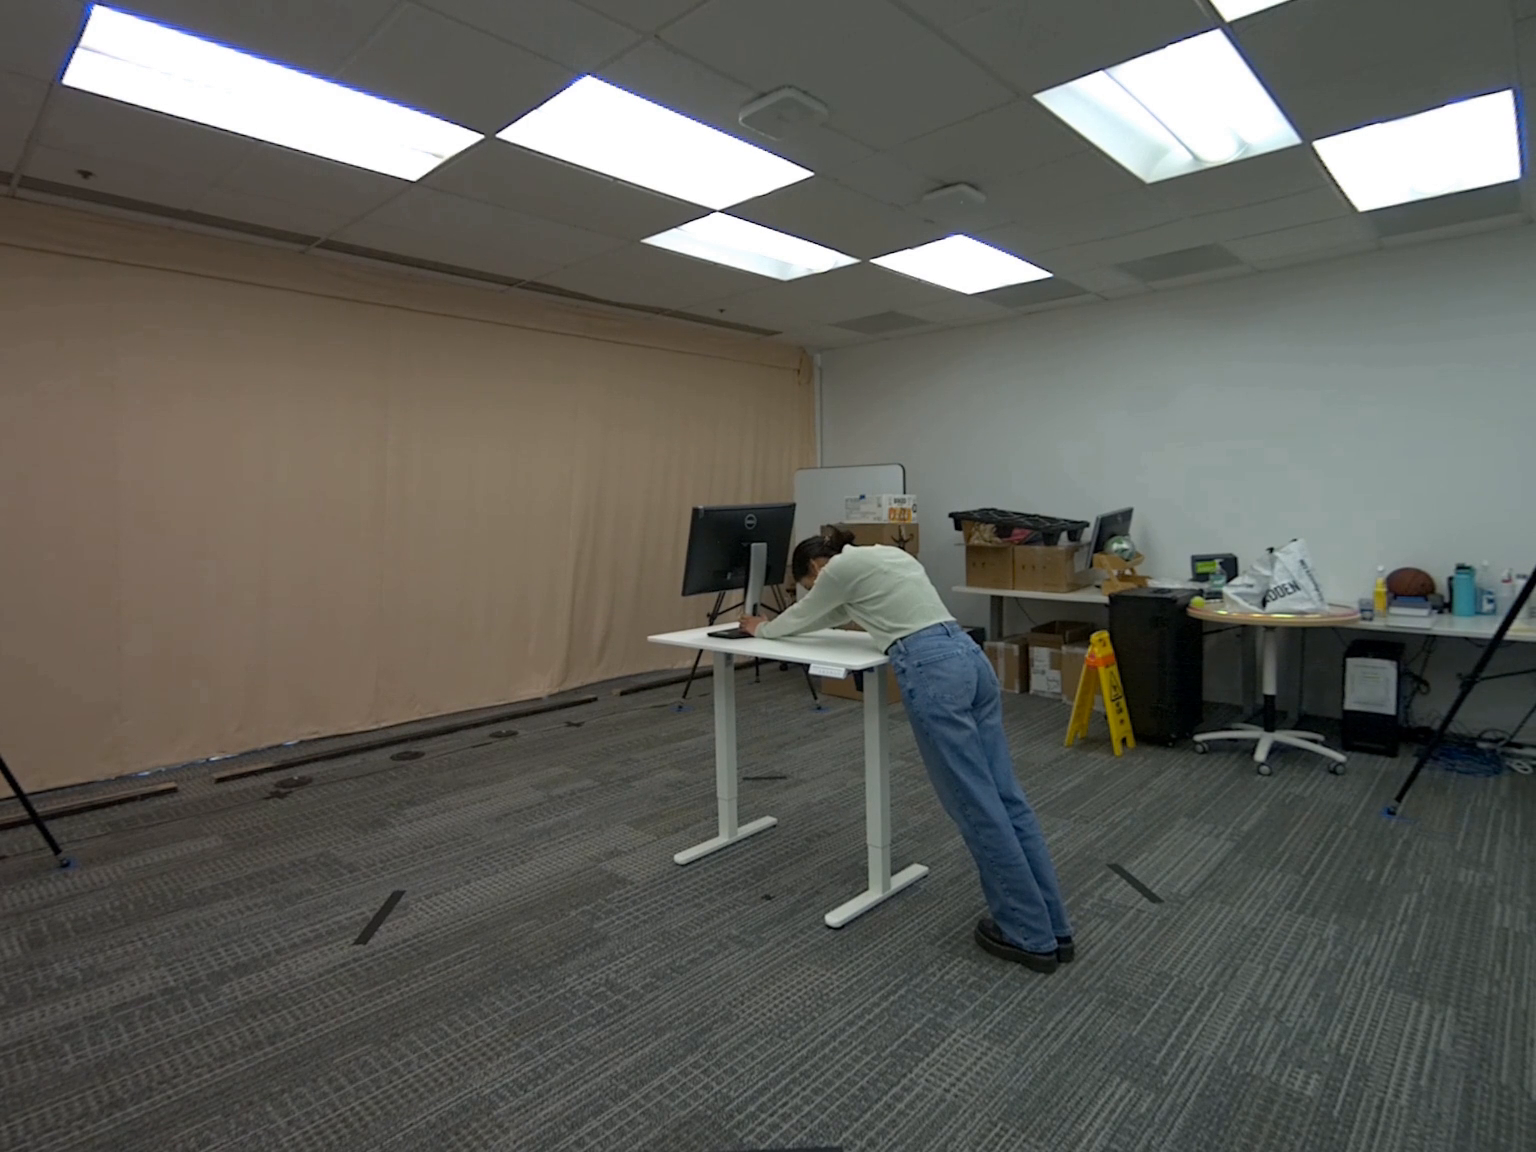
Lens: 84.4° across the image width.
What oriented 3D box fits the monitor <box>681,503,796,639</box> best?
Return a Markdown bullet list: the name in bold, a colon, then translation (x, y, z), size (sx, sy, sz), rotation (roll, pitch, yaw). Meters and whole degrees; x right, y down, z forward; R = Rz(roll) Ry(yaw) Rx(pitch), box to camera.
- **monitor**: translation (-0.089, -0.023, 3.326), size (0.523, 0.520, 0.193), rotation (-6, 8, -43)
